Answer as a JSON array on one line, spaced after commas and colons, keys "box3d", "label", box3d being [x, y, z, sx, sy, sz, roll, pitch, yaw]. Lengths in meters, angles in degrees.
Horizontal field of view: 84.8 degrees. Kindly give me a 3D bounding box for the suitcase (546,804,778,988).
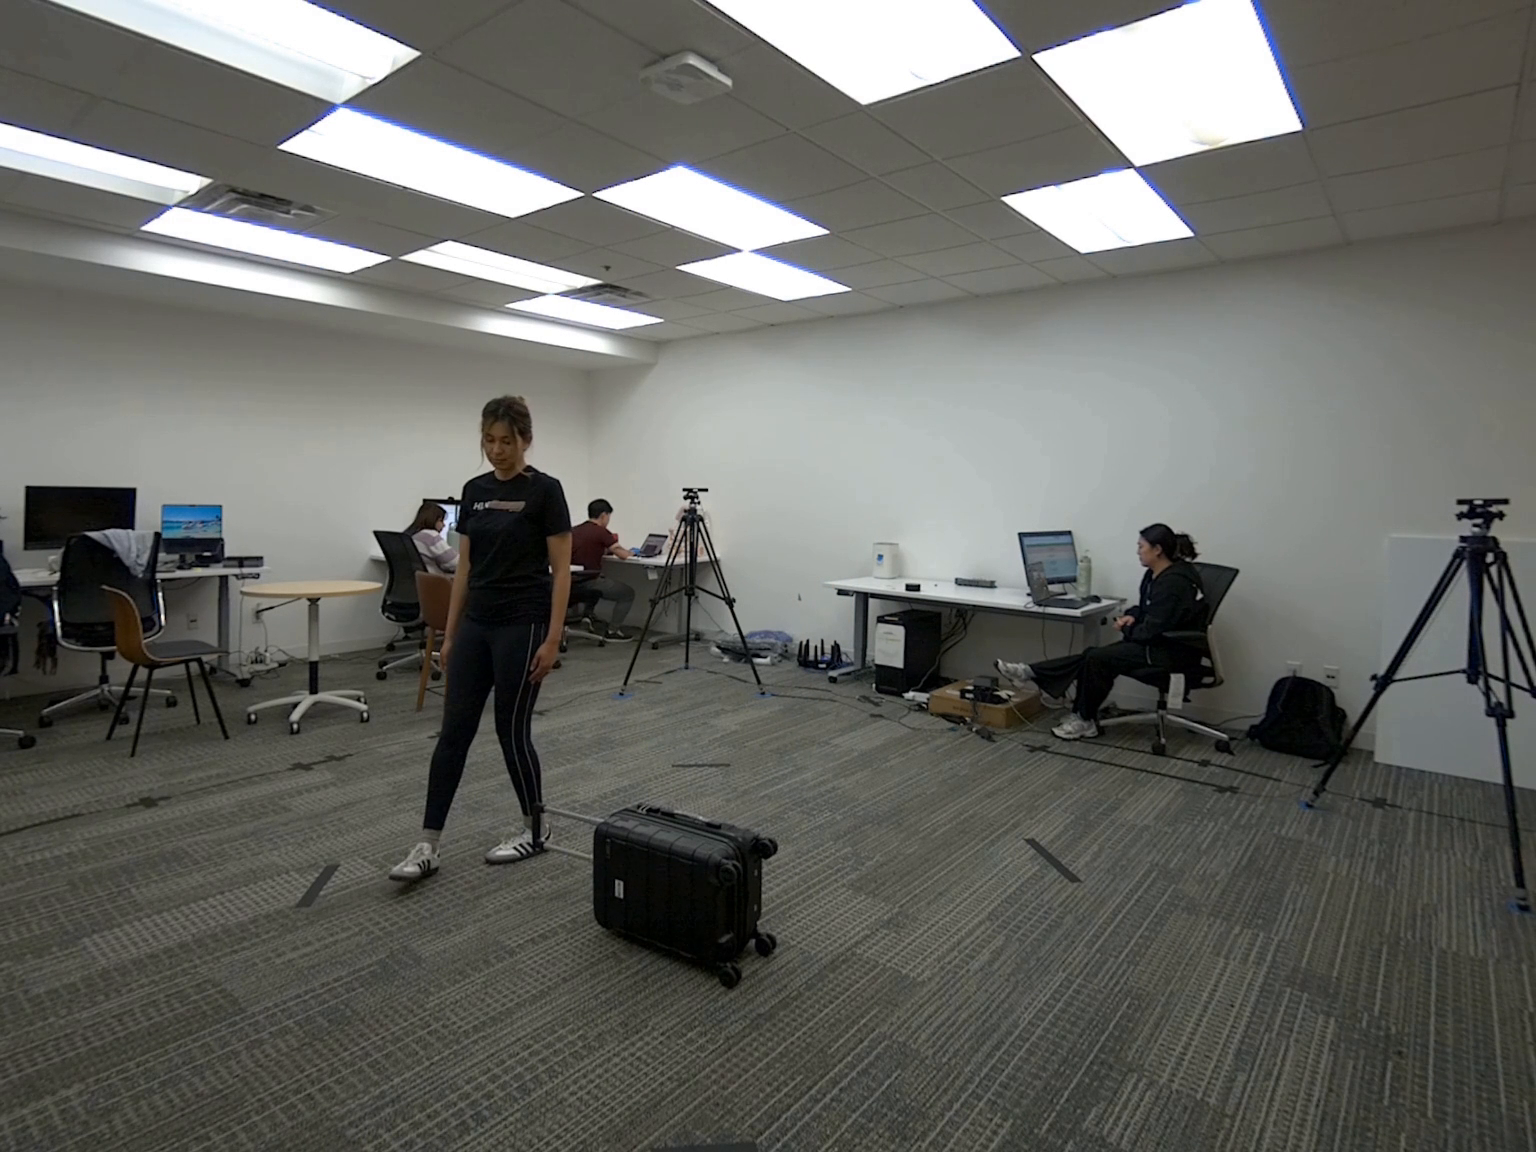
[{"box3d": [-0.457, 0.918, 2.699, 1.008, 0.383, 0.250, 4, 4, 30], "label": "suitcase"}]
